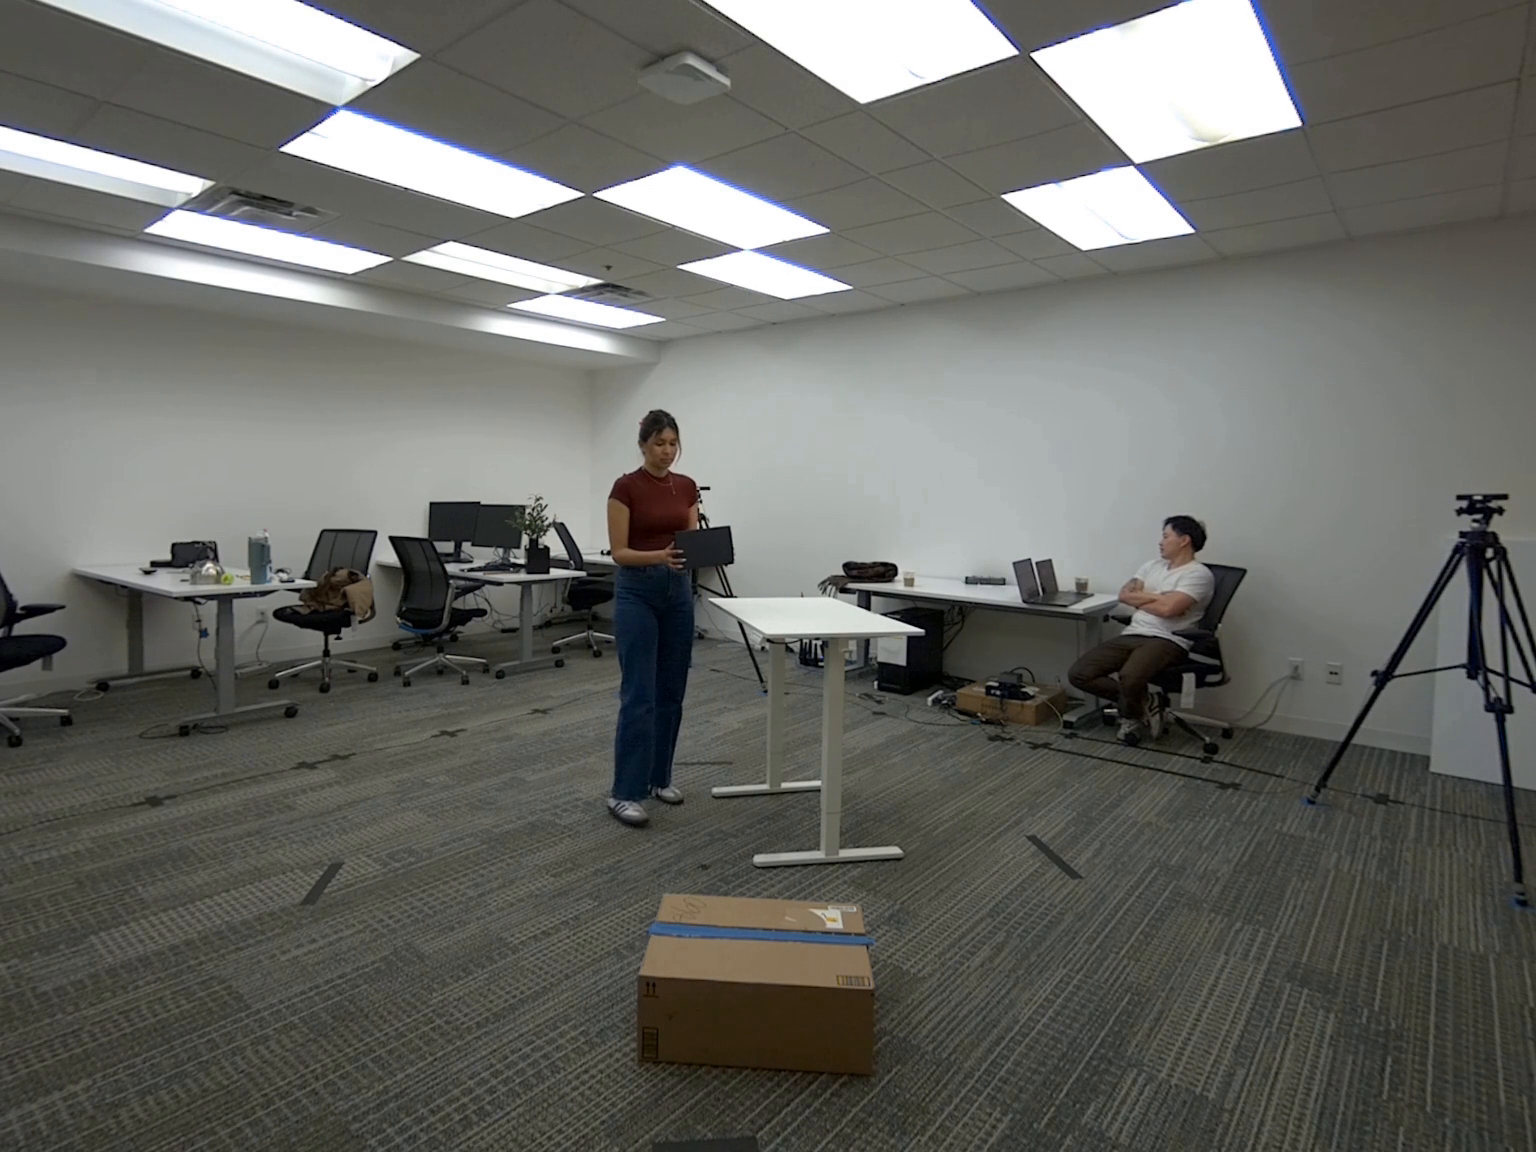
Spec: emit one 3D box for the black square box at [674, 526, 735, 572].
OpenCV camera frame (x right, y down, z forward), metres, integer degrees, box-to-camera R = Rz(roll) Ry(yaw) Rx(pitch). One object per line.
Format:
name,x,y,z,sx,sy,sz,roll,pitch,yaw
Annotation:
black square box,-0.277,-0.123,3.498,0.228,0.156,0.216,-5,1,2
